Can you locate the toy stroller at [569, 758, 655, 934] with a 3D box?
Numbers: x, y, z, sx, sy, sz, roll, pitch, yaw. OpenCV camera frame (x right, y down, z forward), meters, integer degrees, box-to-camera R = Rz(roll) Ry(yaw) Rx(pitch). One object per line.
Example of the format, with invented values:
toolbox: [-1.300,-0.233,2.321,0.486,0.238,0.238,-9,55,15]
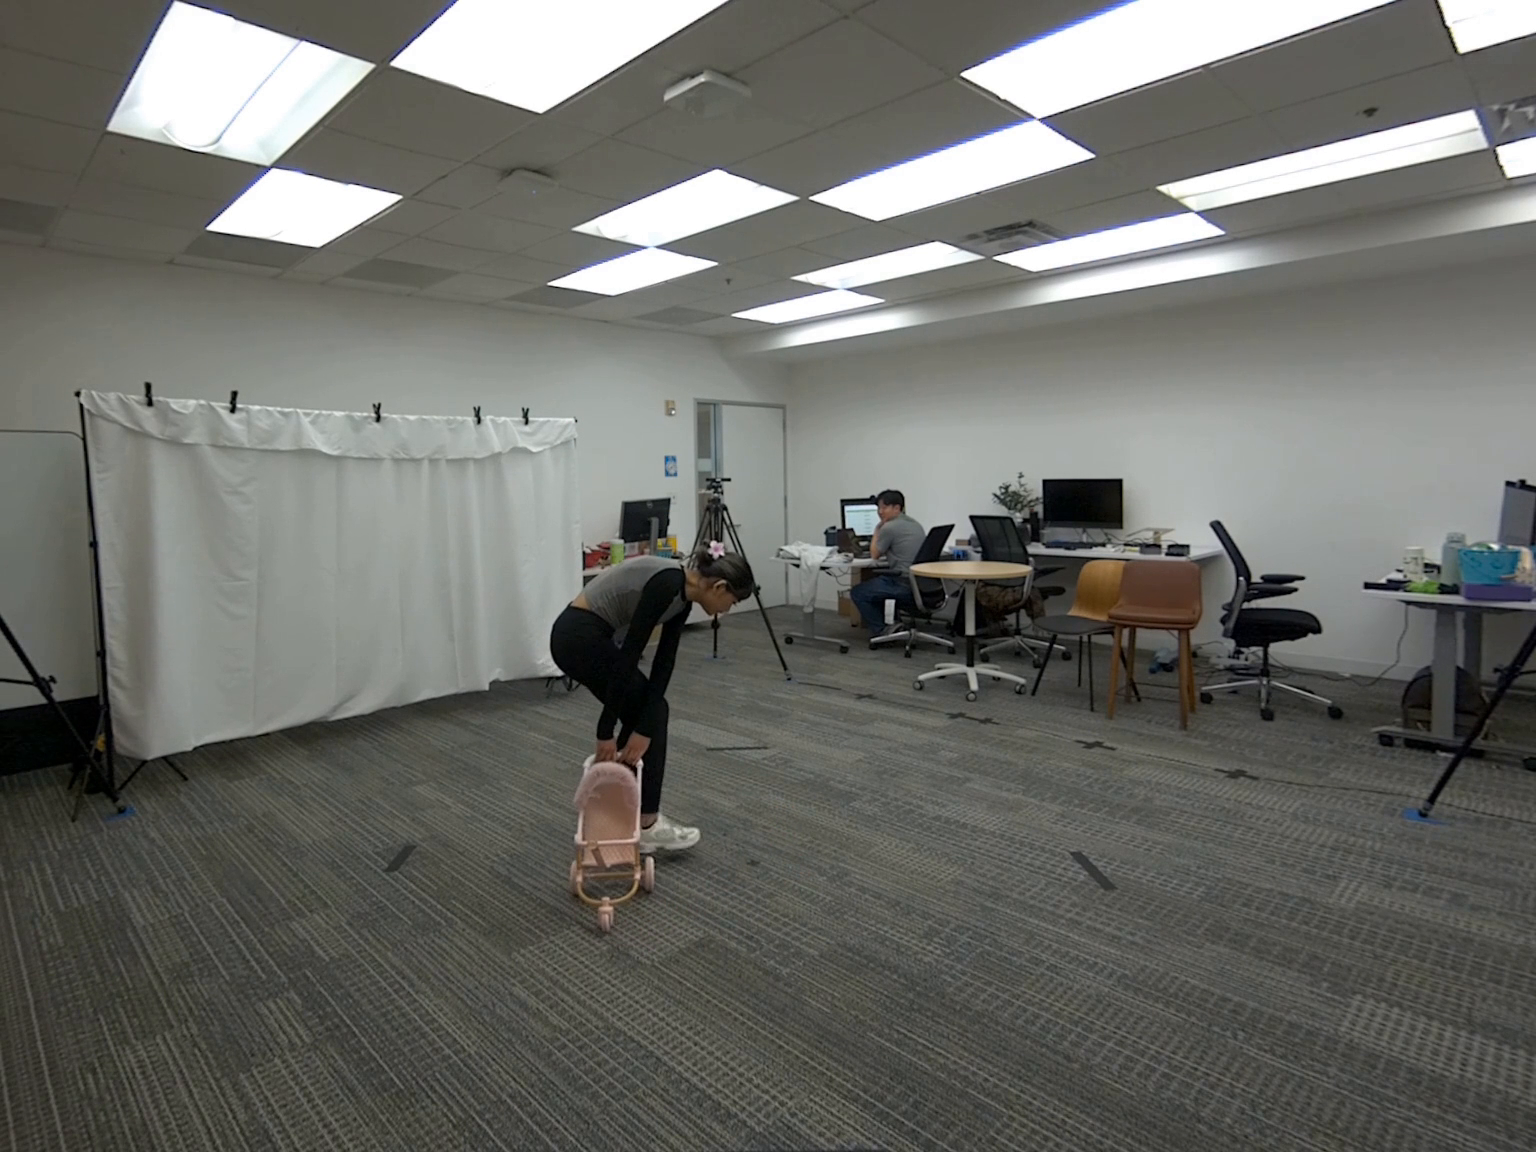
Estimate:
toy stroller: [-0.529,0.863,2.827,0.282,0.541,0.337,-2,-11,0]
